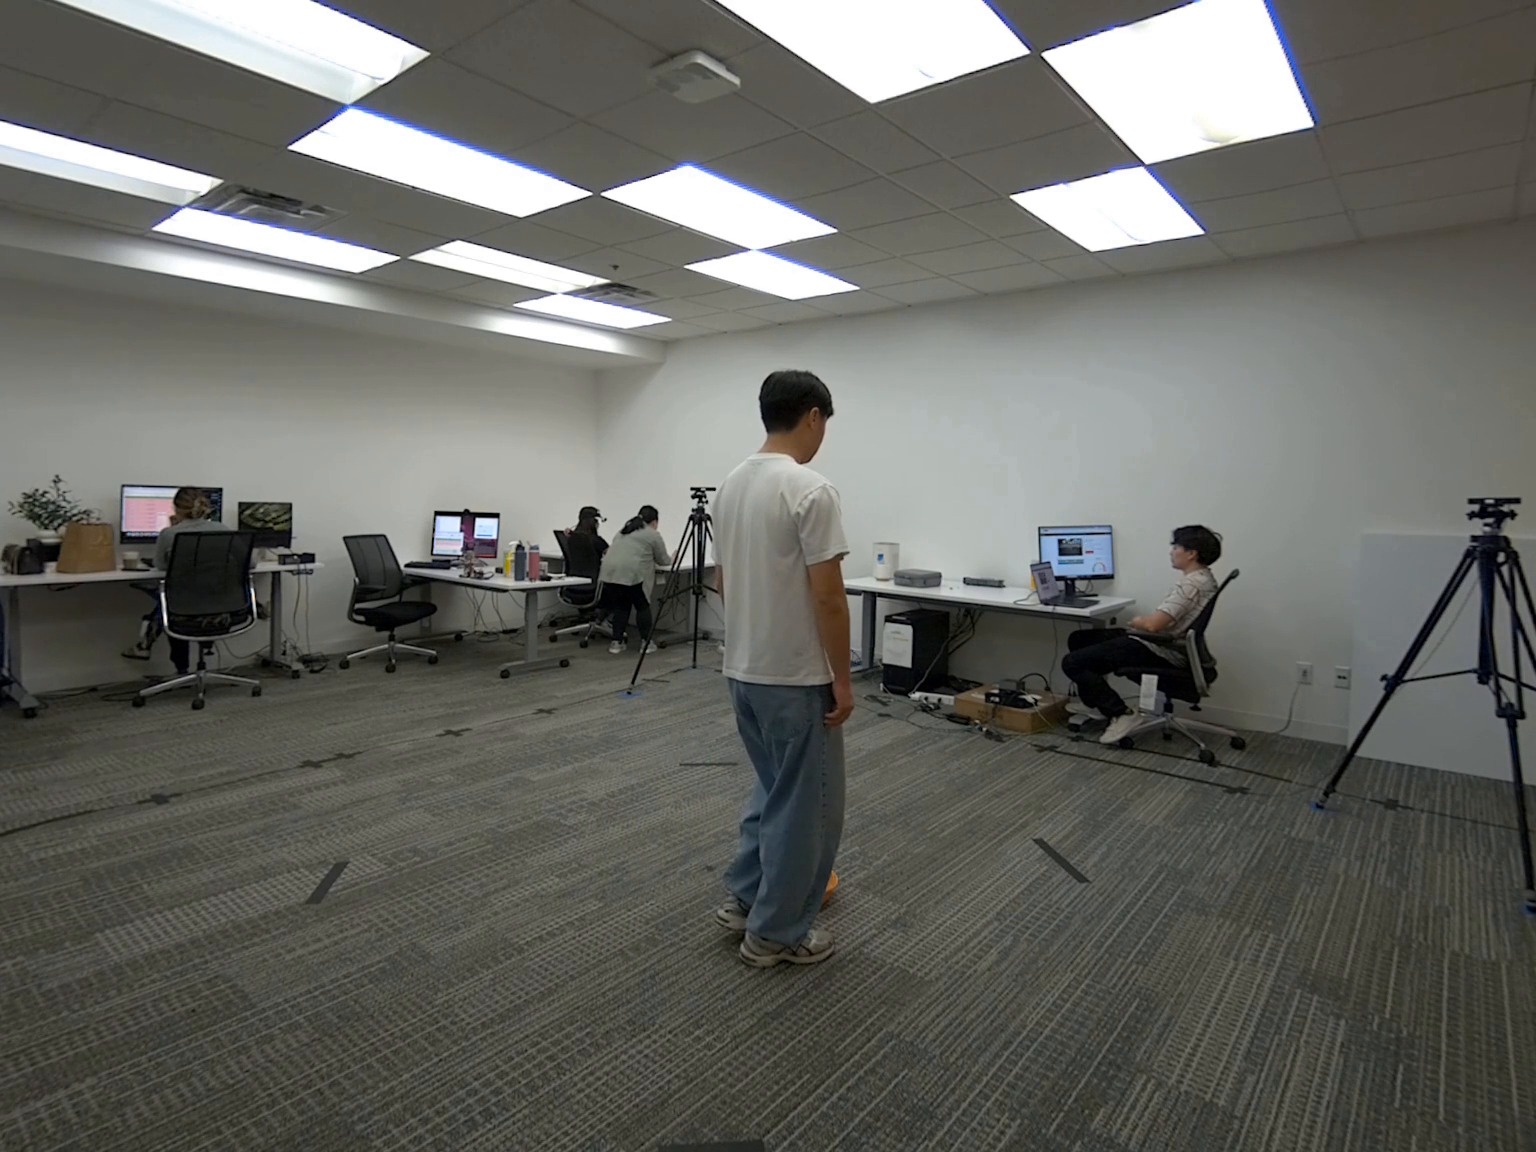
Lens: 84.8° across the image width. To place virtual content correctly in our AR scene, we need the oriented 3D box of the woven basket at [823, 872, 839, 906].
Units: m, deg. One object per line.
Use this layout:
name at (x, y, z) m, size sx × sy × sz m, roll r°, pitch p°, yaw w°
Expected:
woven basket at (0.088, 1.044, 2.952) m, size 0.248 × 0.073 × 0.357 m, roll 0°, pitch 5°, yaw -16°
